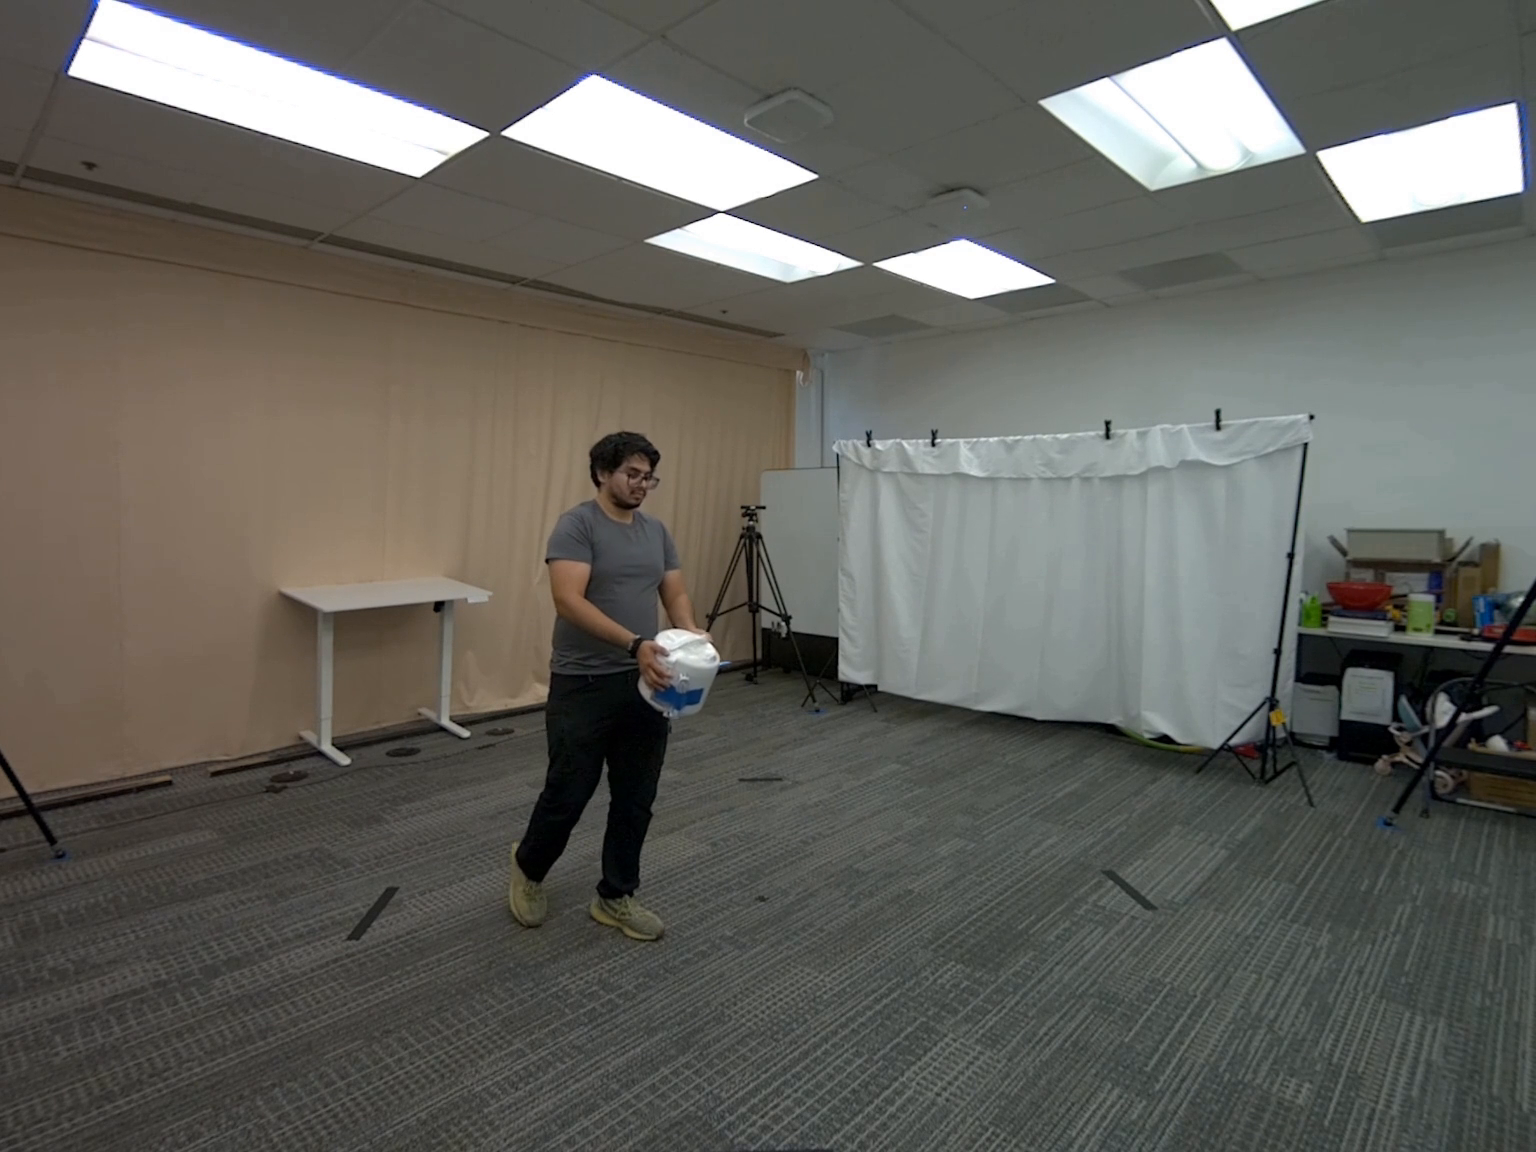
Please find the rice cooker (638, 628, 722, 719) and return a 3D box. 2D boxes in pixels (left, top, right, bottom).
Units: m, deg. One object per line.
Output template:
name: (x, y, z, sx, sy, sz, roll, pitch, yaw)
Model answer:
rice cooker: (-0.271, 0.282, 2.533, 0.225, 0.232, 0.214, 33, 23, 32)
